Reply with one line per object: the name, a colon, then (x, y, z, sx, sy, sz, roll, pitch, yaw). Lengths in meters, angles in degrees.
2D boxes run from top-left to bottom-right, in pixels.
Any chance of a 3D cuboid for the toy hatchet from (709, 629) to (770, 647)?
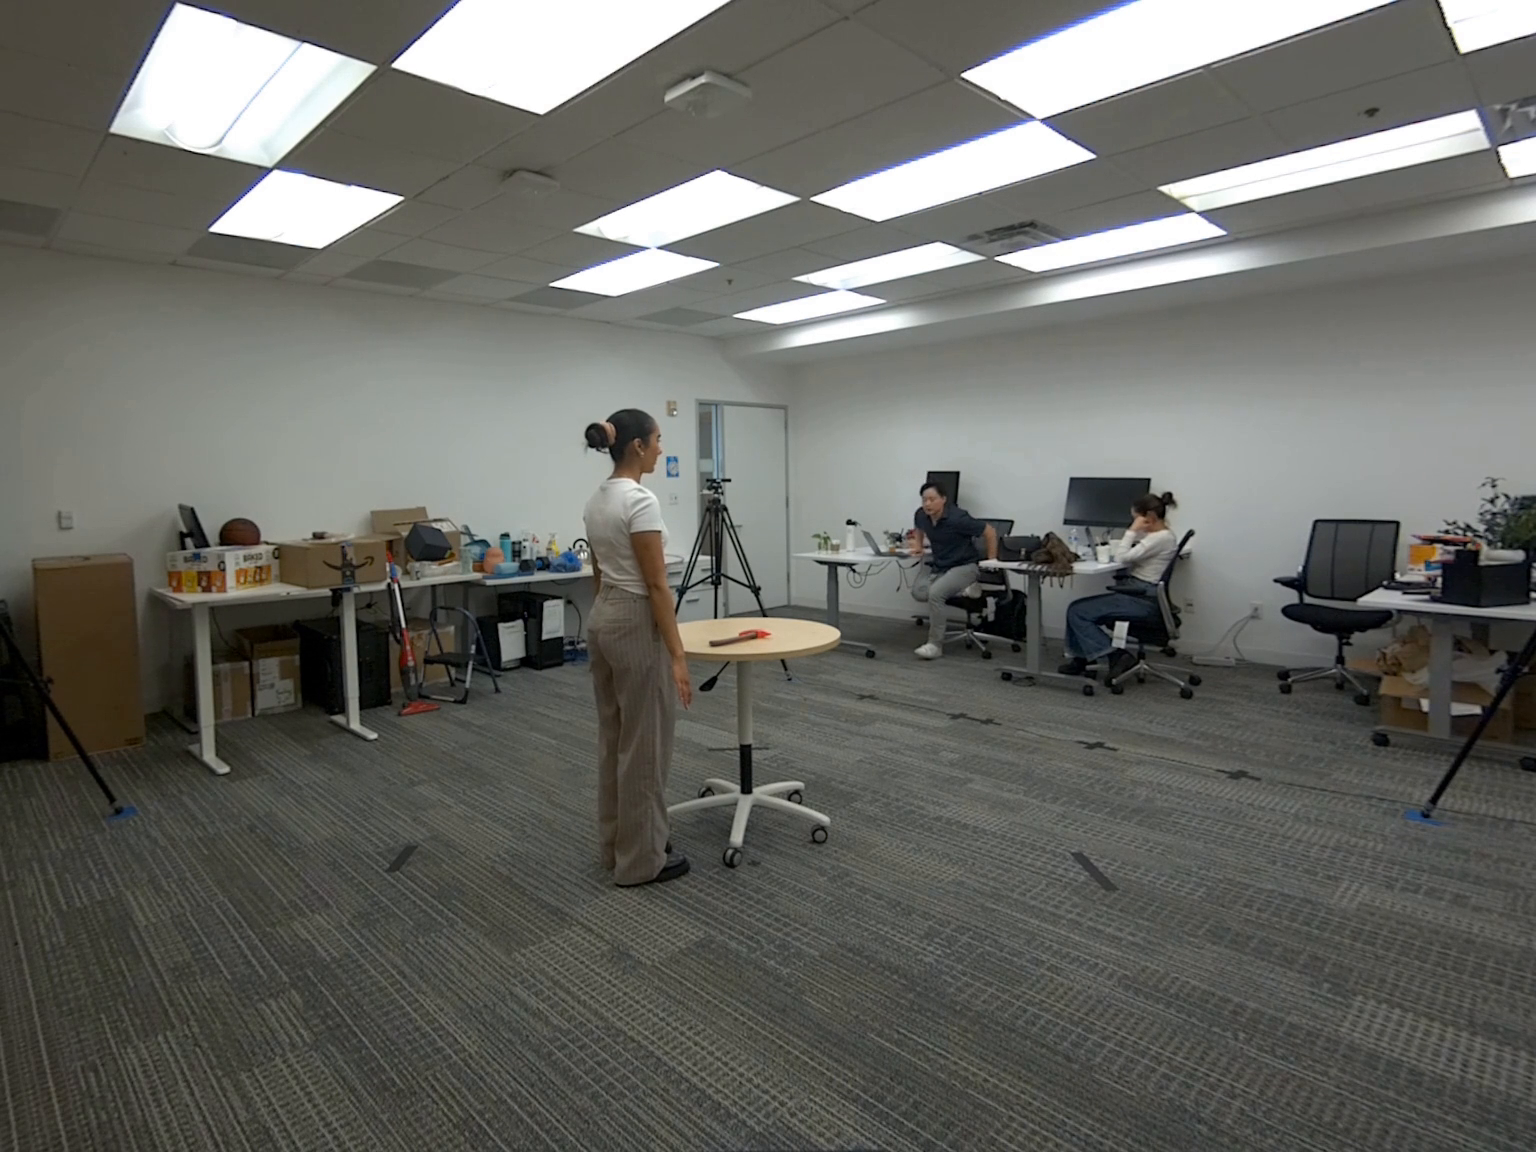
toy hatchet: (-0.123, 0.234, 3.253, 0.263, 0.029, 0.135, -7, 8, -34)
